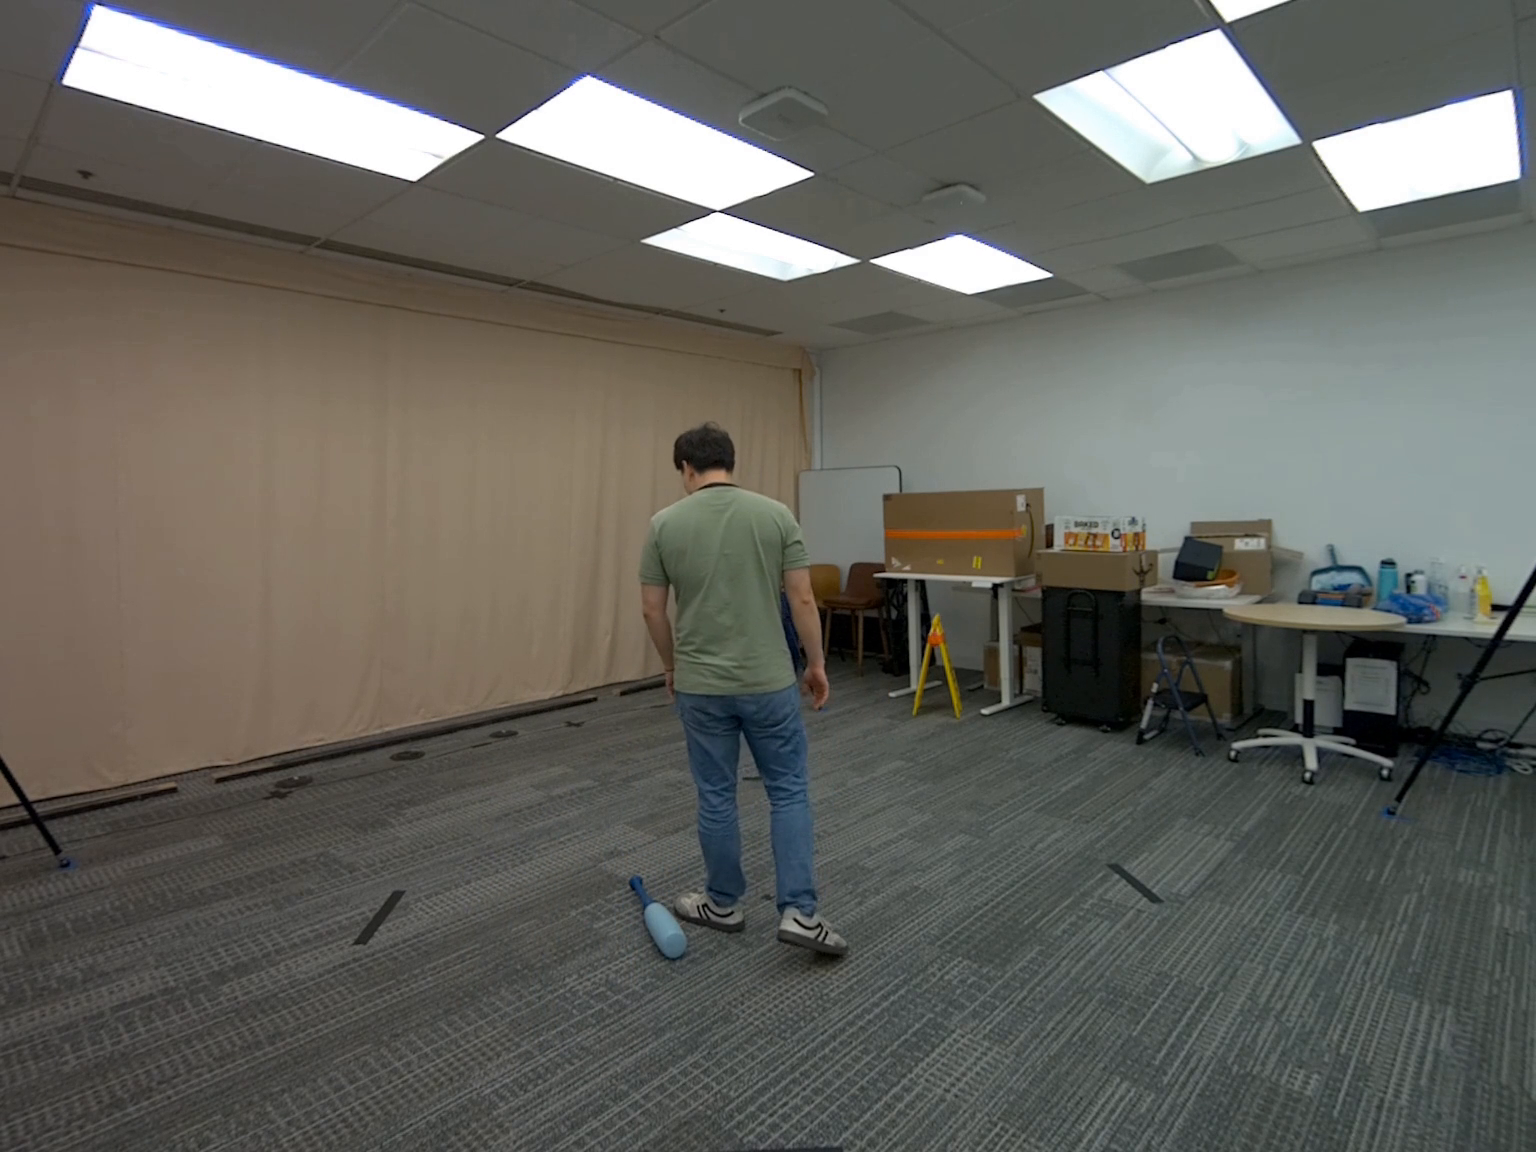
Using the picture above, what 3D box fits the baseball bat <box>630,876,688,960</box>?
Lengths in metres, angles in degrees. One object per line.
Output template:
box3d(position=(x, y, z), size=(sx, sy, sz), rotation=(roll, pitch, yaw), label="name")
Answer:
box3d(position=(-0.384, 1.126, 2.822), size=(0.087, 0.089, 0.554), rotation=(-2, 2, -21), label="baseball bat")
